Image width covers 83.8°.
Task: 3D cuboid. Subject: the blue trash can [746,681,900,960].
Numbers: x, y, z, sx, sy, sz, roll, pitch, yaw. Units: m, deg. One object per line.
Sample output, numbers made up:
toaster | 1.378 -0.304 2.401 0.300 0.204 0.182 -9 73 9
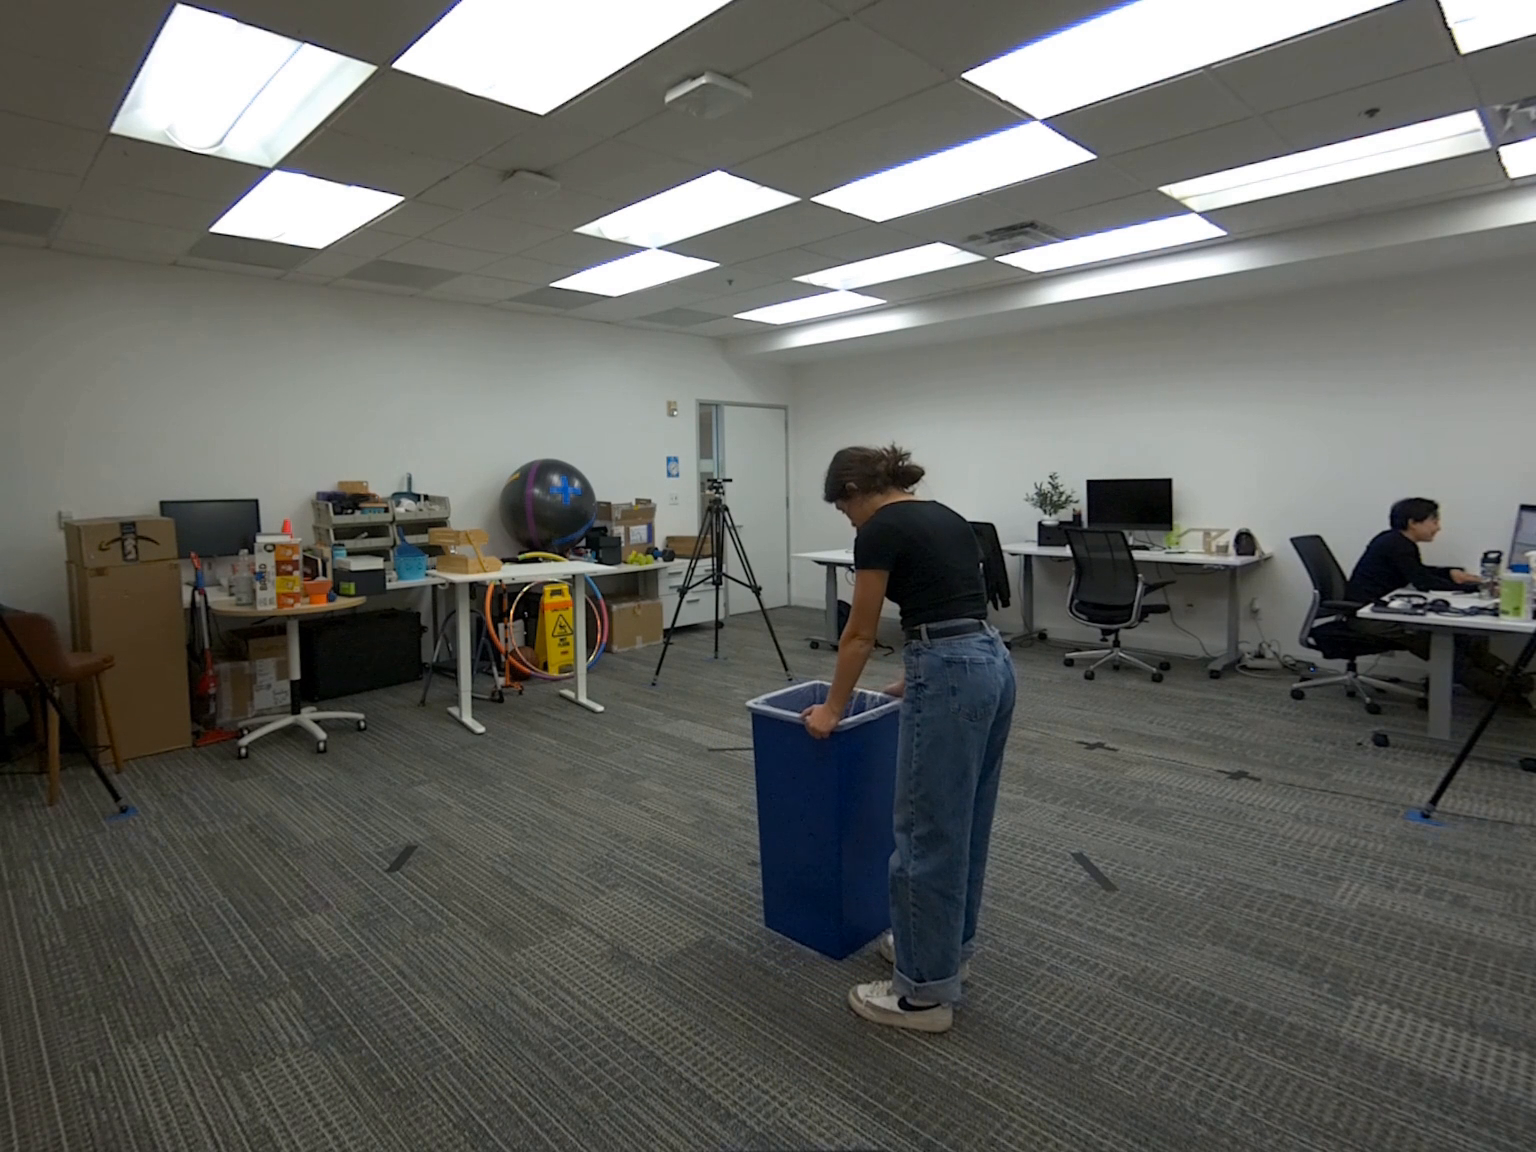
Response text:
blue trash can | 0.190 0.736 2.644 0.389 0.711 0.364 3 5 44
